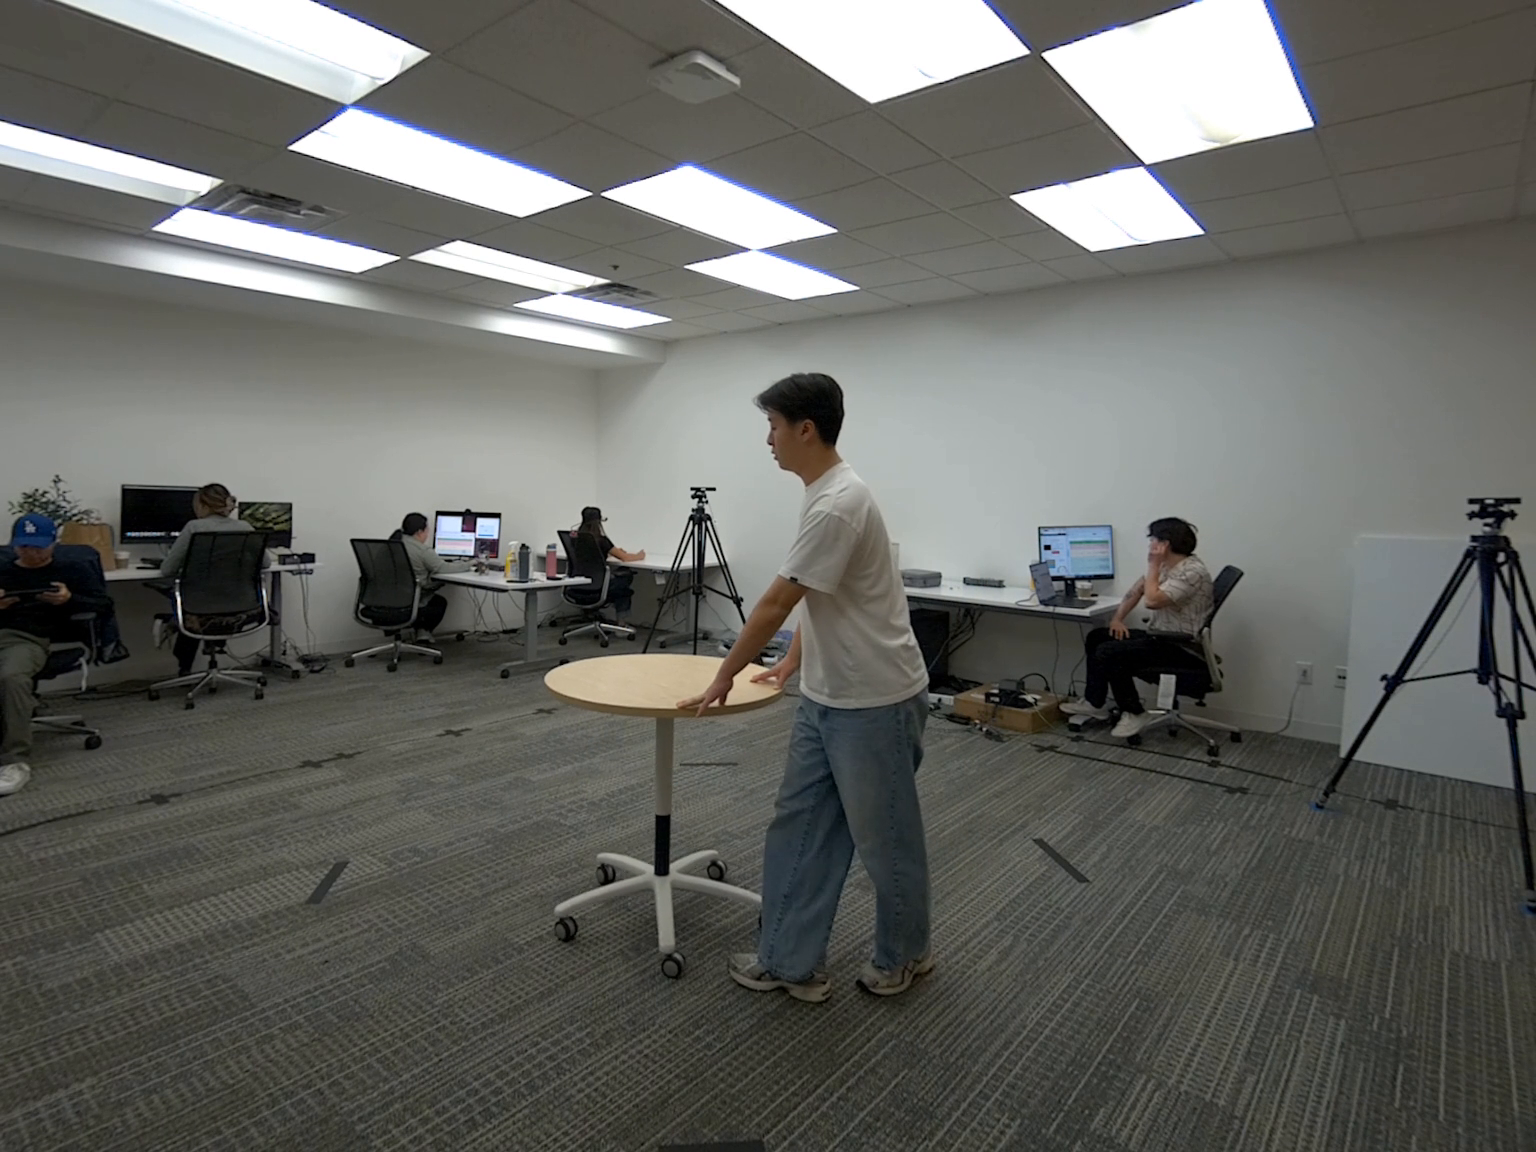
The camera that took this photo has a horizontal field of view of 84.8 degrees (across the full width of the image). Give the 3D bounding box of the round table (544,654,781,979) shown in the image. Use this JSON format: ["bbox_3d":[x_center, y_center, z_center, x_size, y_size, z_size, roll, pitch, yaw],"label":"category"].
[{"bbox_3d":[-0.338,0.712,2.736,0.763,0.791,0.768,1,4,-2],"label":"round table"}]
